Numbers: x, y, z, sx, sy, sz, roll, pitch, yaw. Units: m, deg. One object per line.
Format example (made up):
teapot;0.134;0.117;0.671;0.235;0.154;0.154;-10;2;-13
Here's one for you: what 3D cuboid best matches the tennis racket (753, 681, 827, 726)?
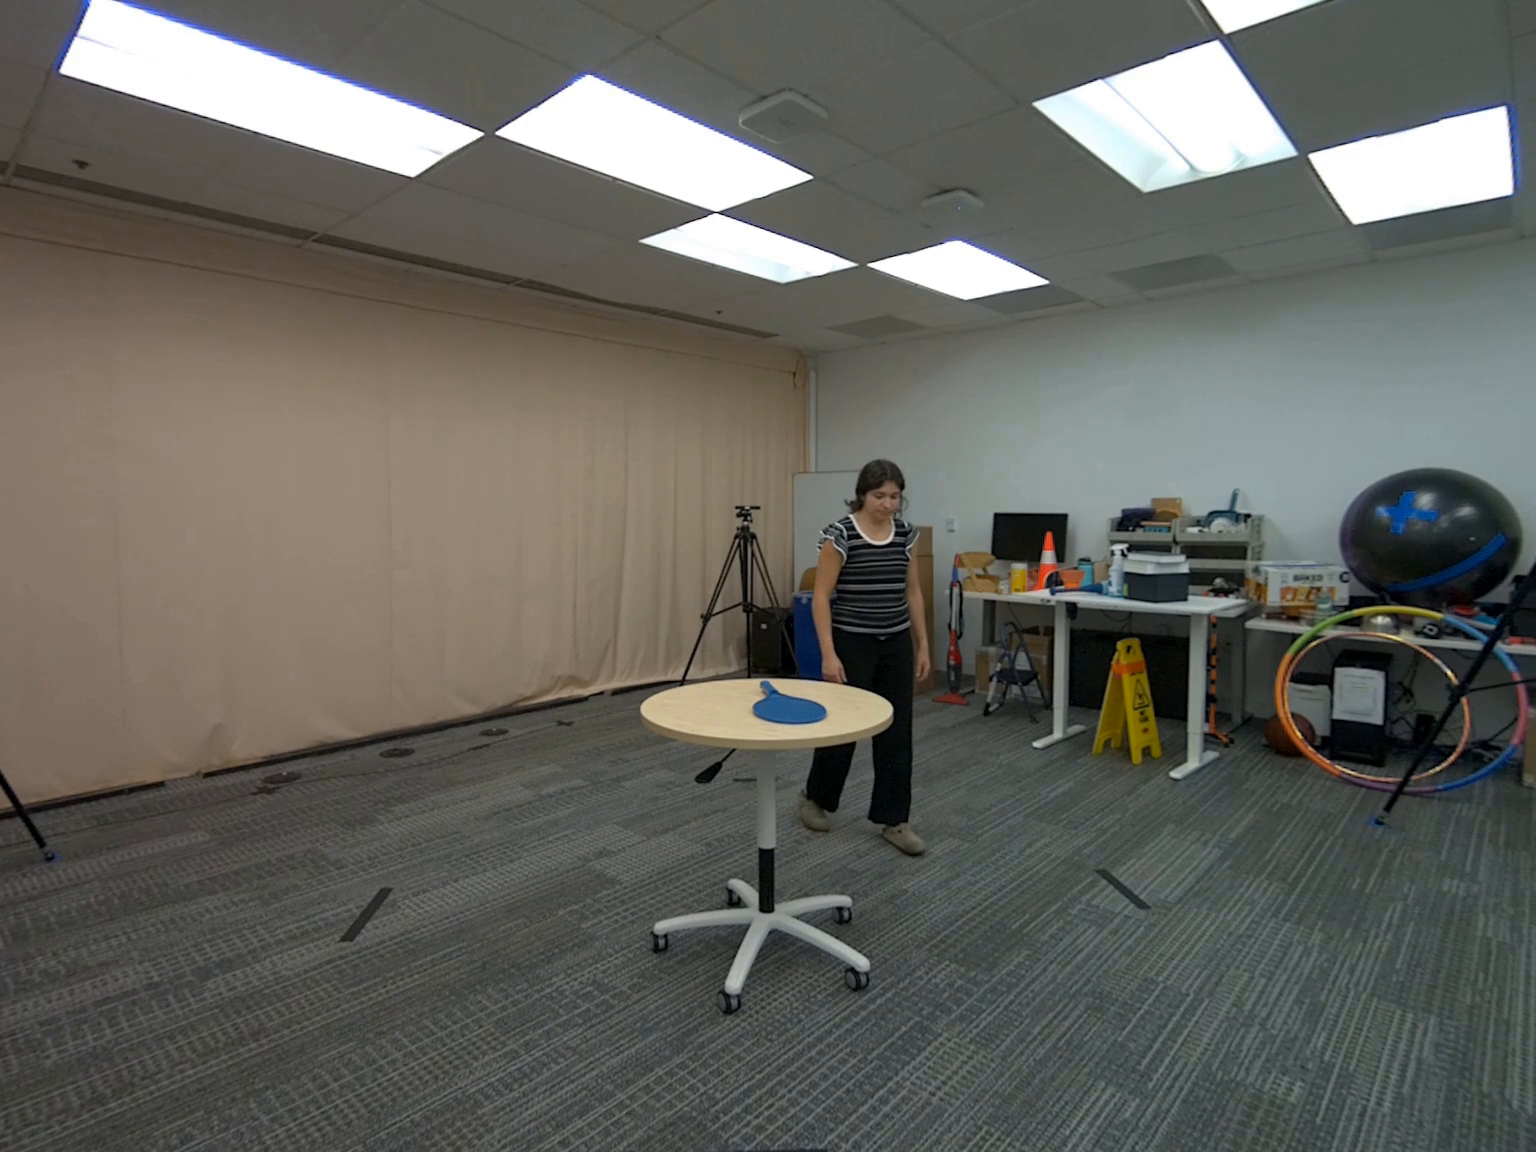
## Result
tennis racket;0.049;0.390;2.549;0.211;0.031;0.440;-2;7;-14
